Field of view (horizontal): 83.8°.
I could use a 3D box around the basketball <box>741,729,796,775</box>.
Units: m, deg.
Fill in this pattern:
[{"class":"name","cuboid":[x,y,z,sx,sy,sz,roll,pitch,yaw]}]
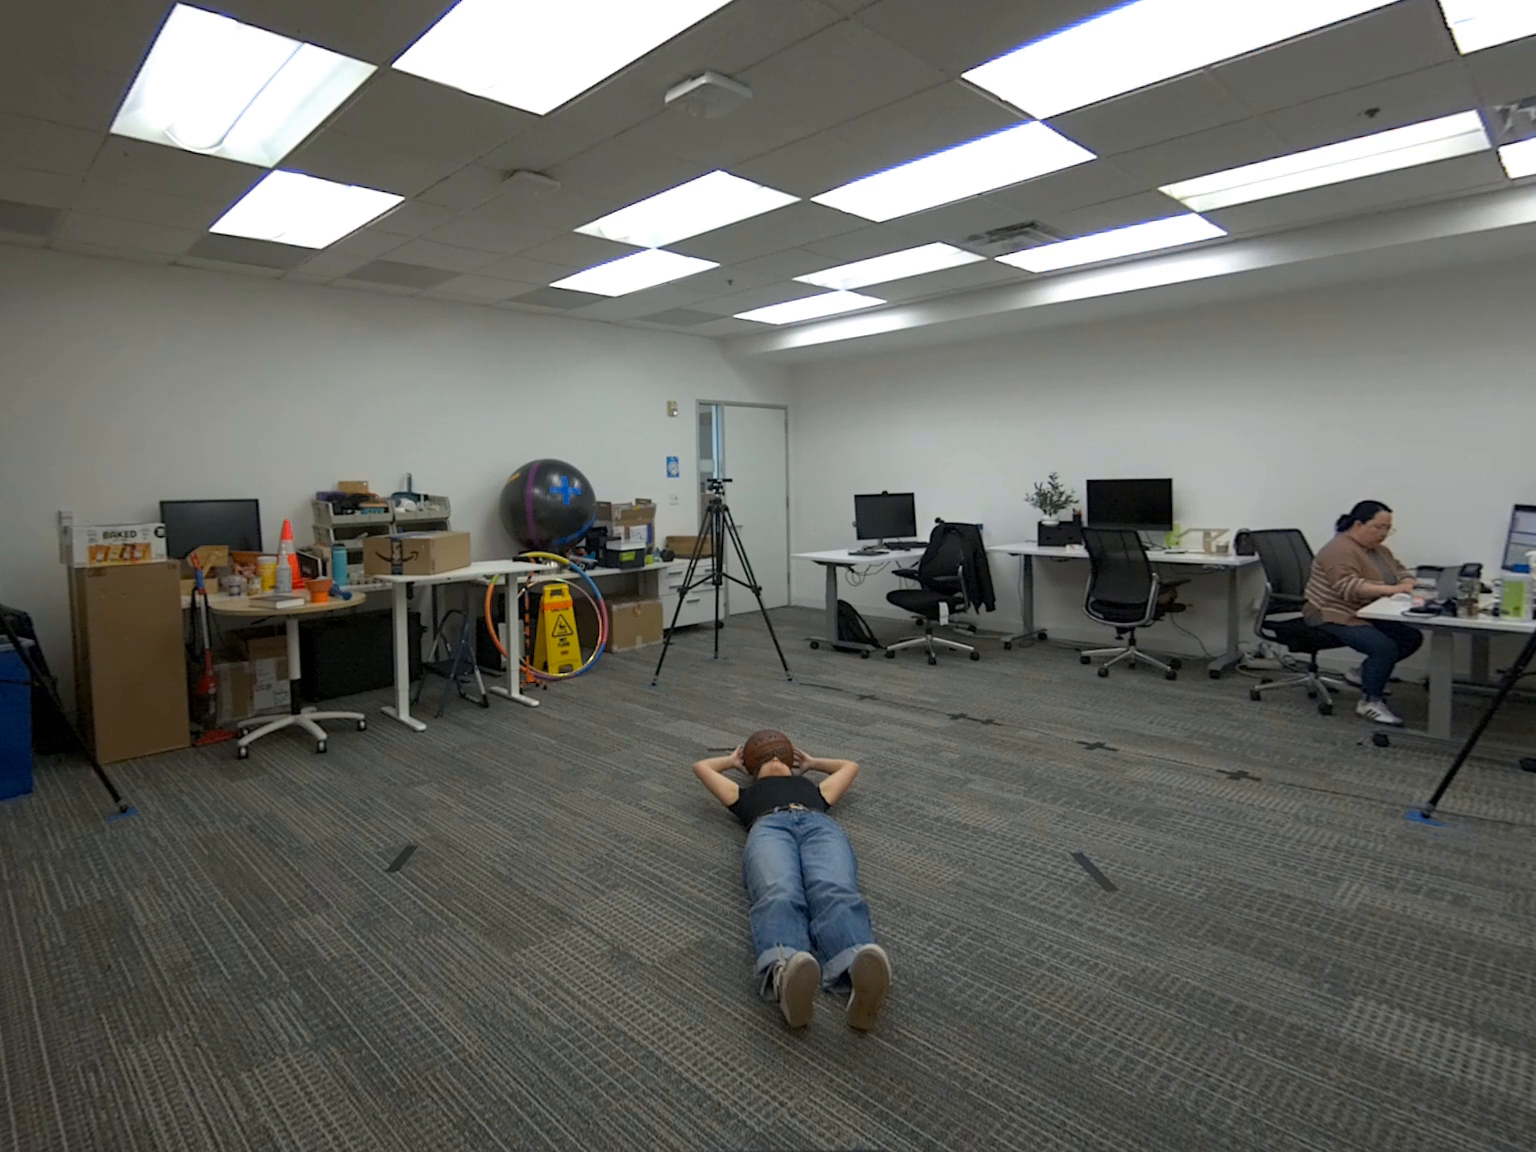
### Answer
[{"class":"basketball","cuboid":[0.002,0.830,3.953,0.236,0.235,0.237,-1,5,-2]}]
